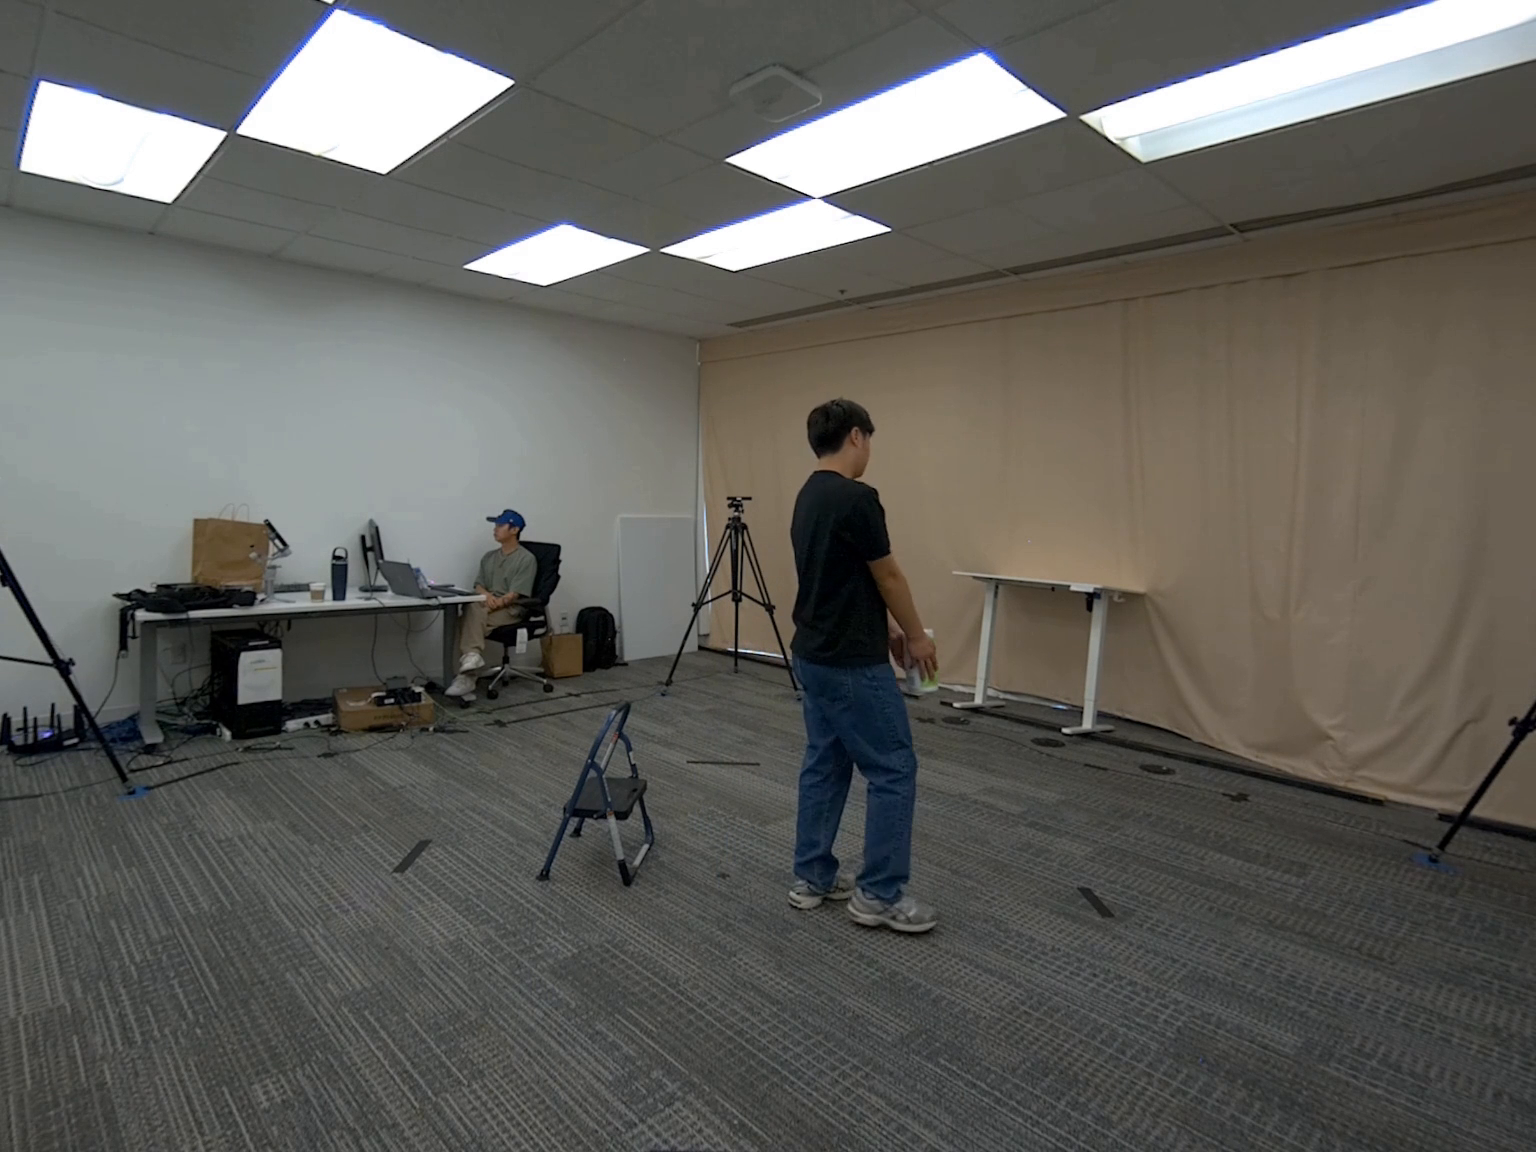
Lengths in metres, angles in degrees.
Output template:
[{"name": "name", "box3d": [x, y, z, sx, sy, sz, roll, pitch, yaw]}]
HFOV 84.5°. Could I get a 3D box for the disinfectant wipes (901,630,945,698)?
[{"name": "disinfectant wipes", "box3d": [0.535, 0.304, 2.966, 0.118, 0.218, 0.117, -4, -4, -2]}]
